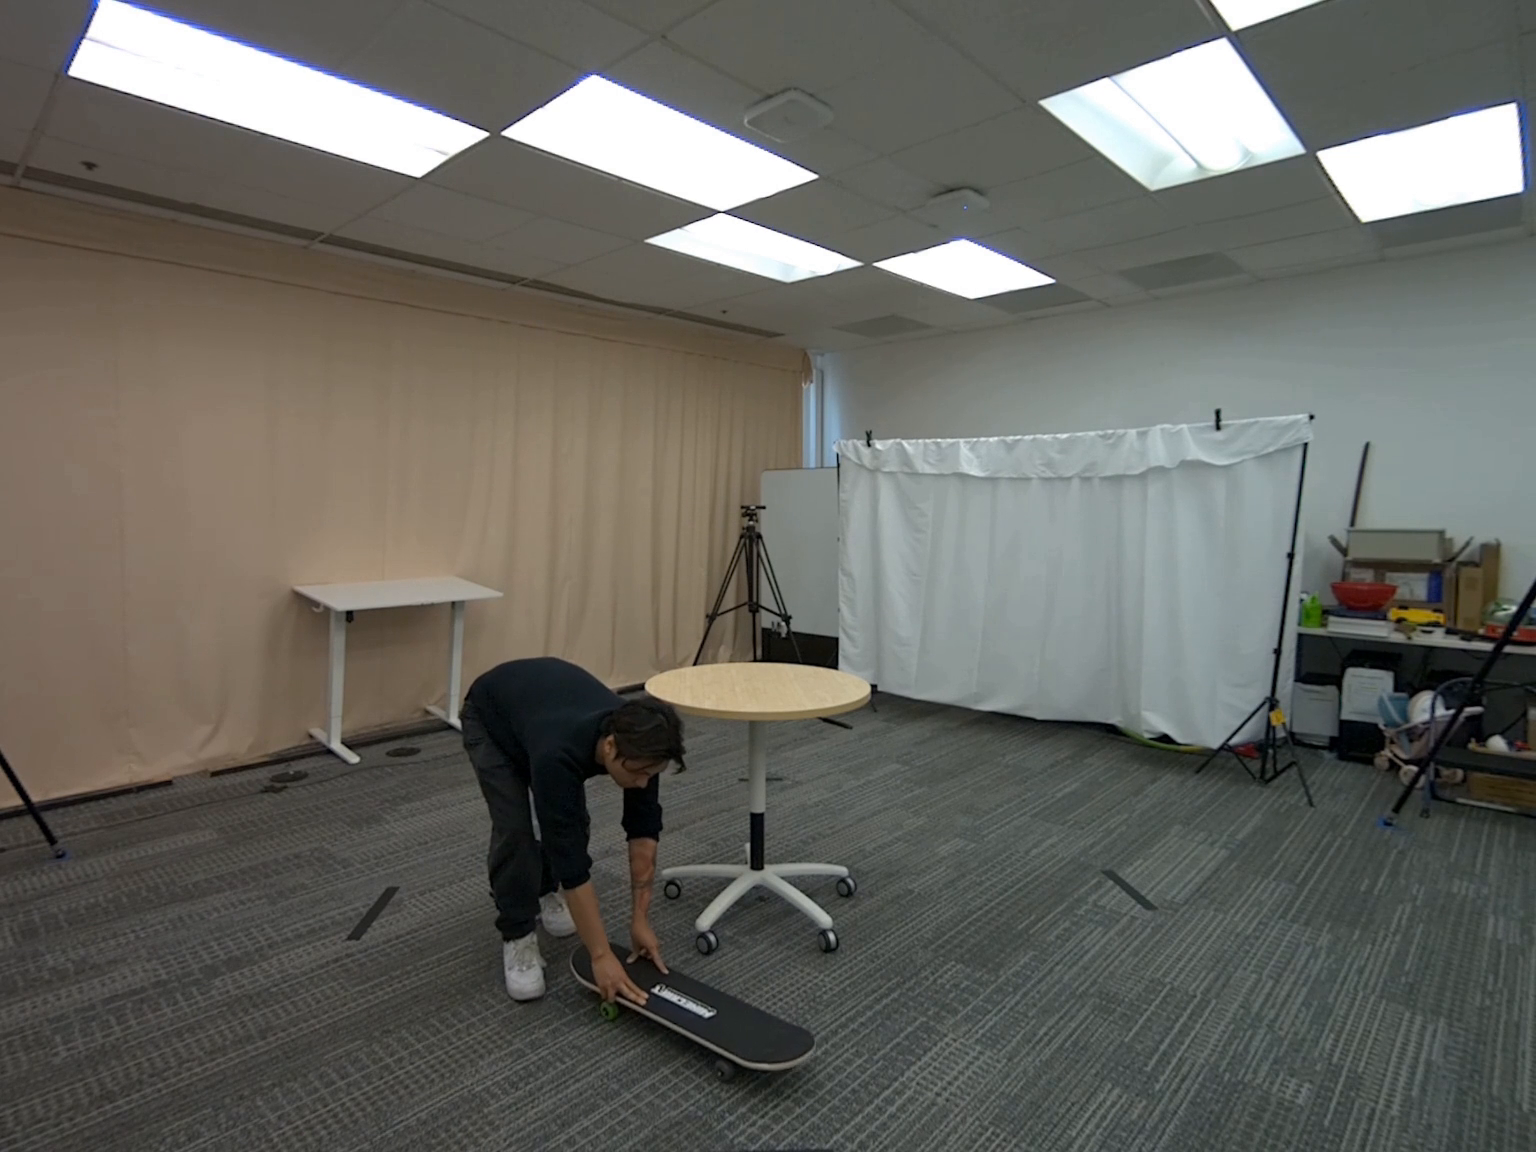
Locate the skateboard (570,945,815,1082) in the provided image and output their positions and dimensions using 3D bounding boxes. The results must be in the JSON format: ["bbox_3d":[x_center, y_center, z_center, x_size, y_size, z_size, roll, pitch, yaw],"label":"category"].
[{"bbox_3d":[-0.222,1.160,2.214,0.810,0.110,0.188,2,4,37],"label":"skateboard"}]
